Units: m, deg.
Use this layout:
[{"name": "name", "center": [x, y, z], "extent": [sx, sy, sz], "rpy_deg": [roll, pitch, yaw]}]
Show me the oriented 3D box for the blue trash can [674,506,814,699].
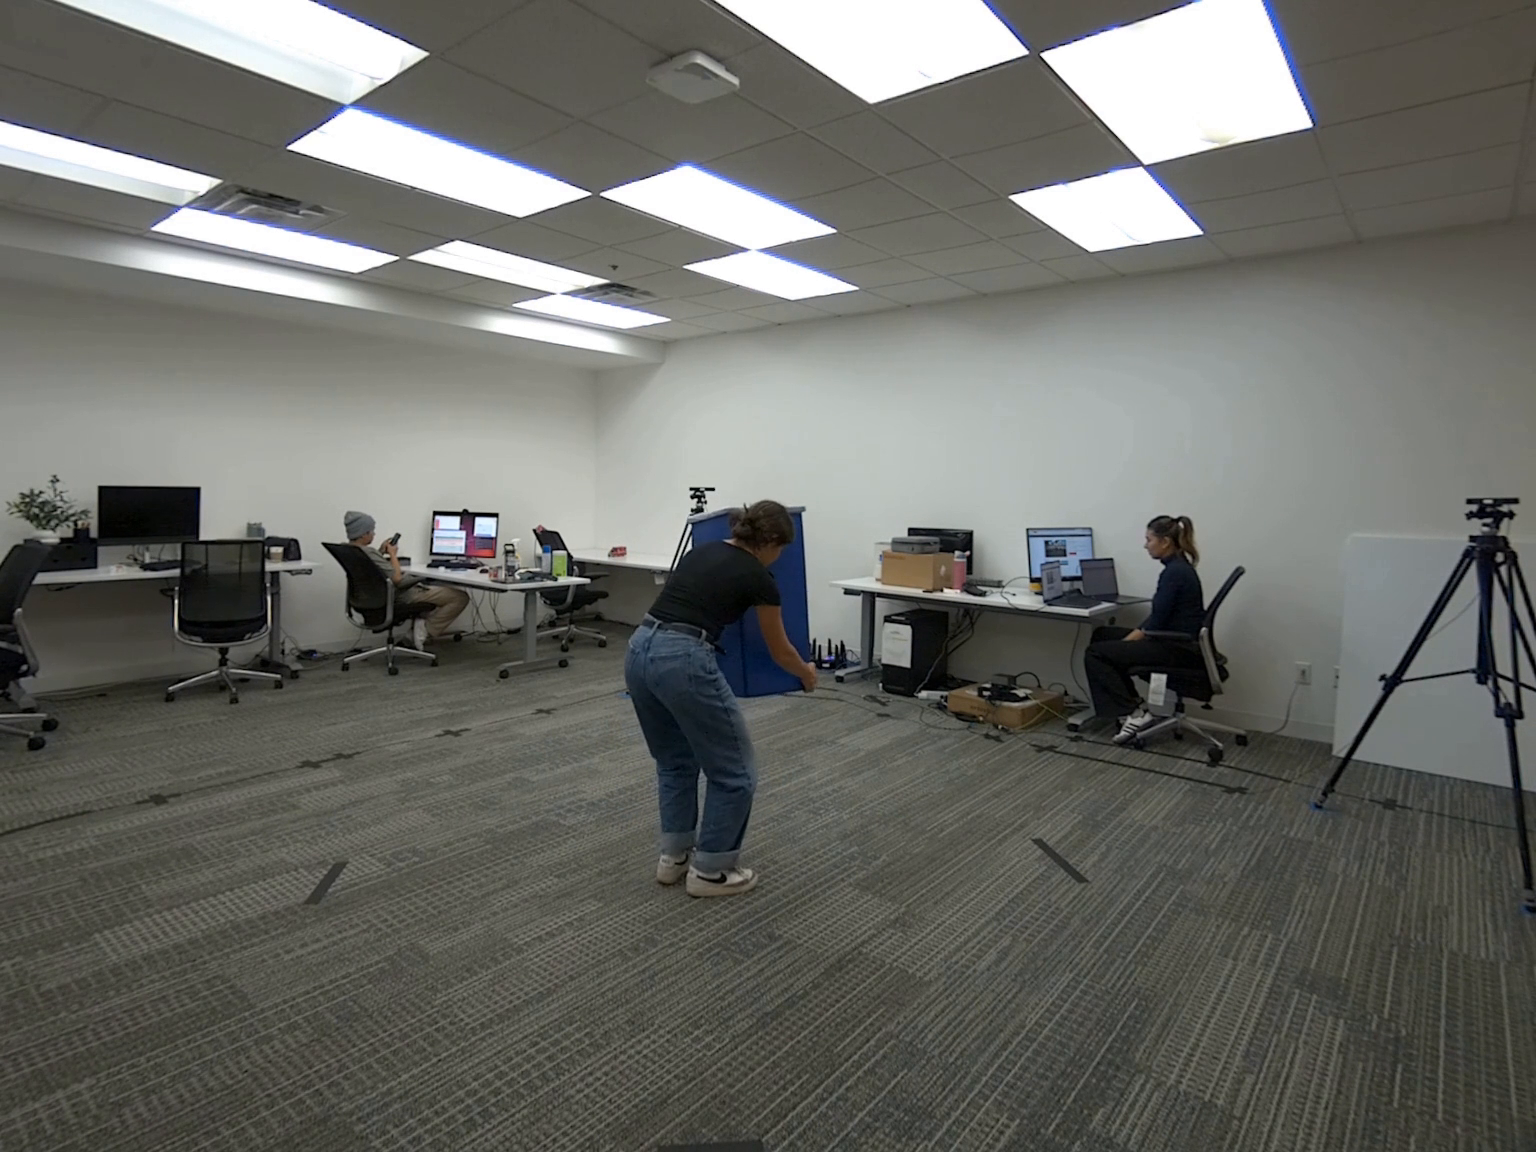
[{"name": "blue trash can", "center": [-0.075, 0.098, 3.392], "extent": [0.368, 0.717, 0.383], "rpy_deg": [-1, -5, -32]}]
